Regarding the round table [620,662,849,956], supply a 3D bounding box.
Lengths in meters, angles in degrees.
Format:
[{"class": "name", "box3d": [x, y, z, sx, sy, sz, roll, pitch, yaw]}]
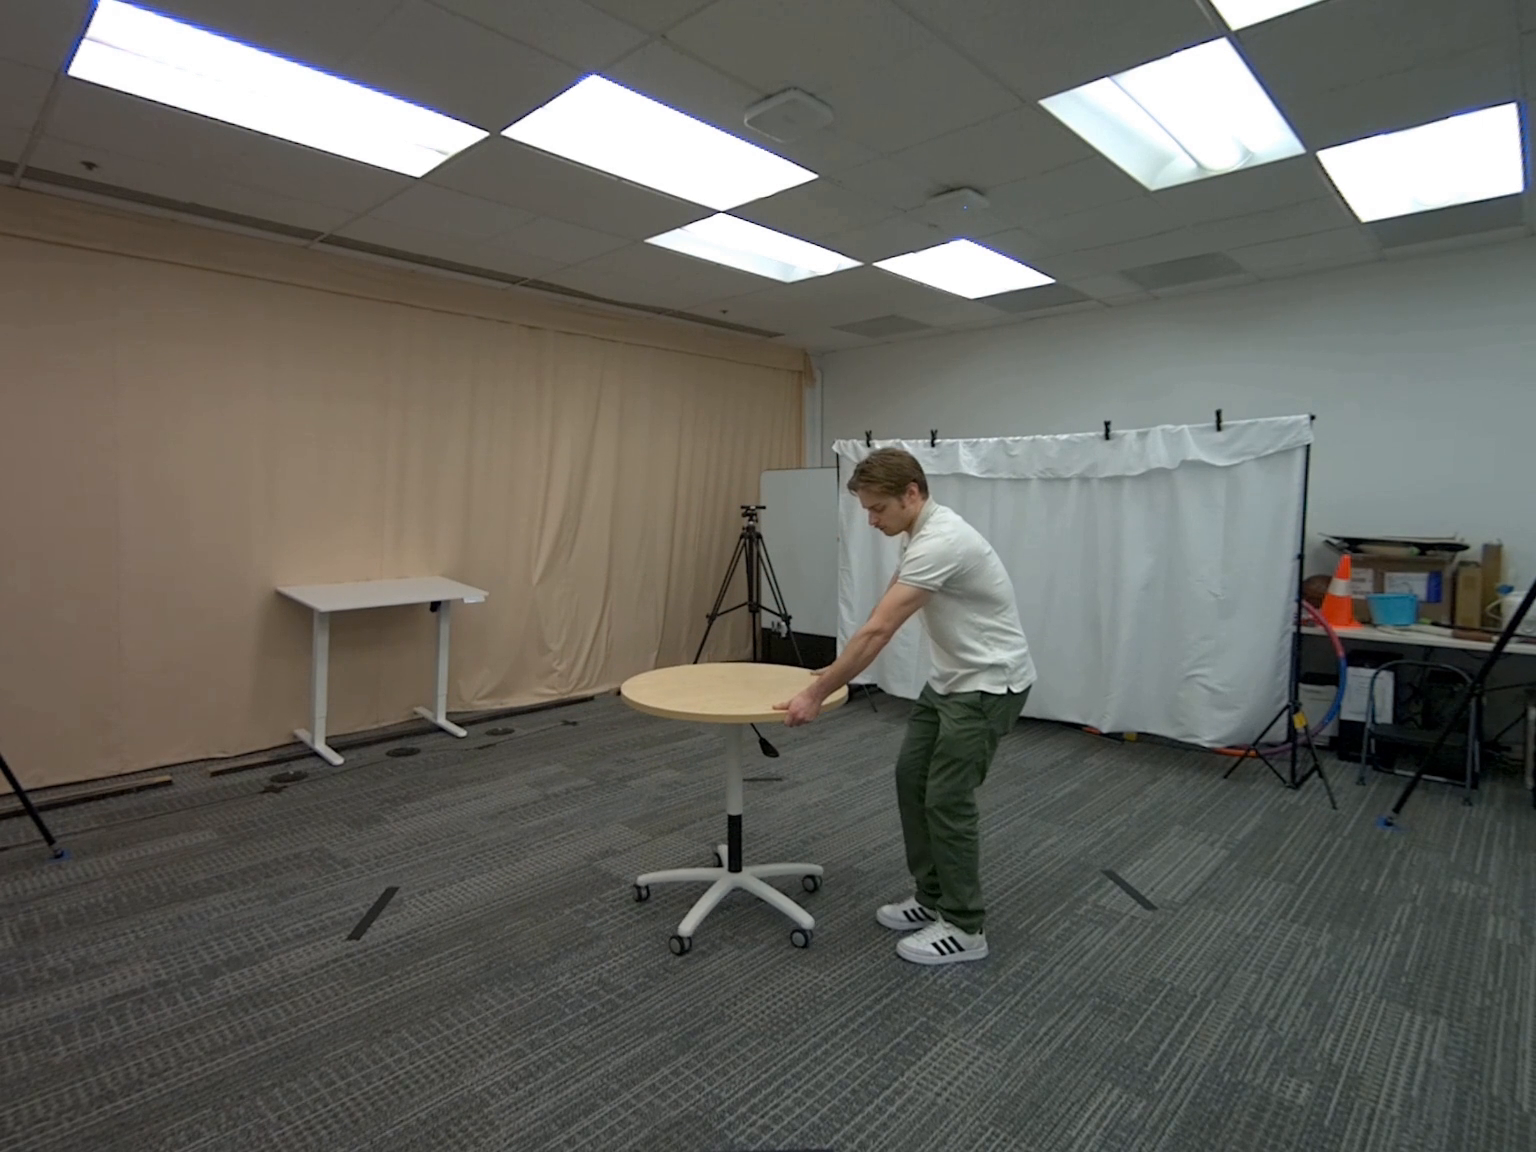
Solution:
[{"class": "round table", "box3d": [-0.099, 0.759, 2.884, 0.784, 0.784, 0.788, -1, 4, -2]}]
